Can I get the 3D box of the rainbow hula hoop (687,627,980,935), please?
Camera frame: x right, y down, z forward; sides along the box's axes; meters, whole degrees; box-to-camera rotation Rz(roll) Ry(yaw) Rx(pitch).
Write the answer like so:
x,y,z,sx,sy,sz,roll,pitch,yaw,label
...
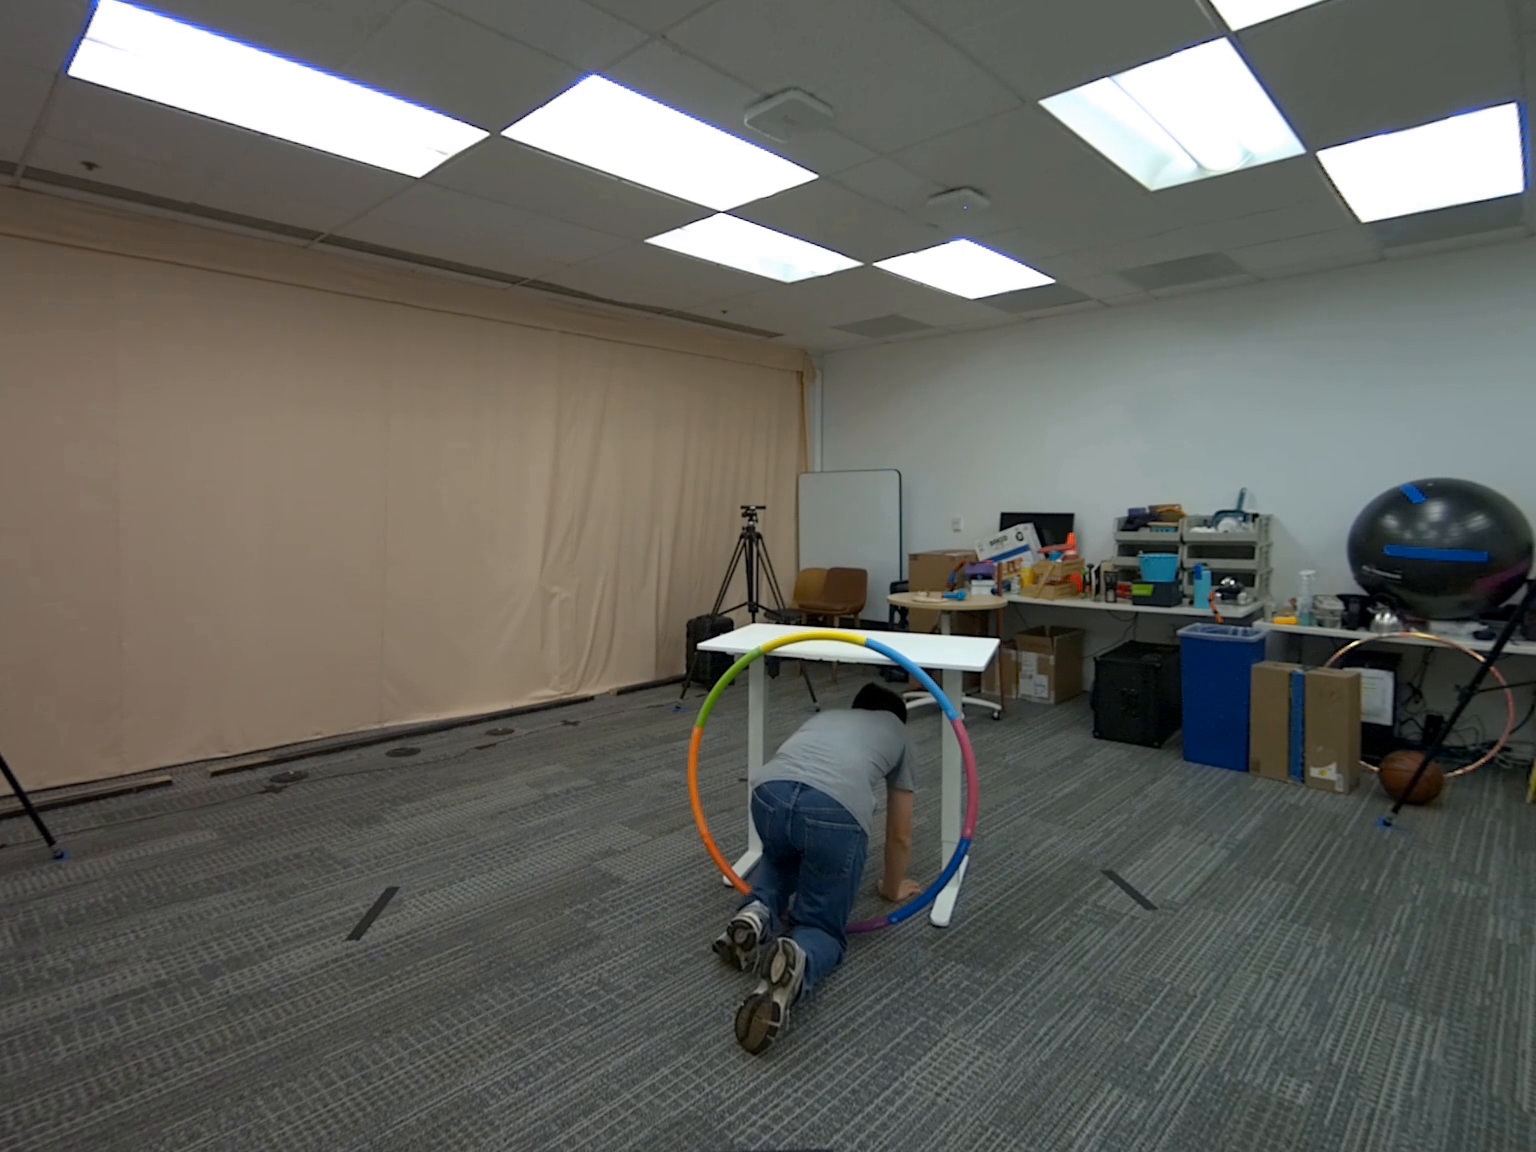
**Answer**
x,y,z,sx,sy,sz,roll,pitch,yaw,label
0.186,0.675,2.815,1.000,0.982,0.034,1,-6,21,rainbow hula hoop
